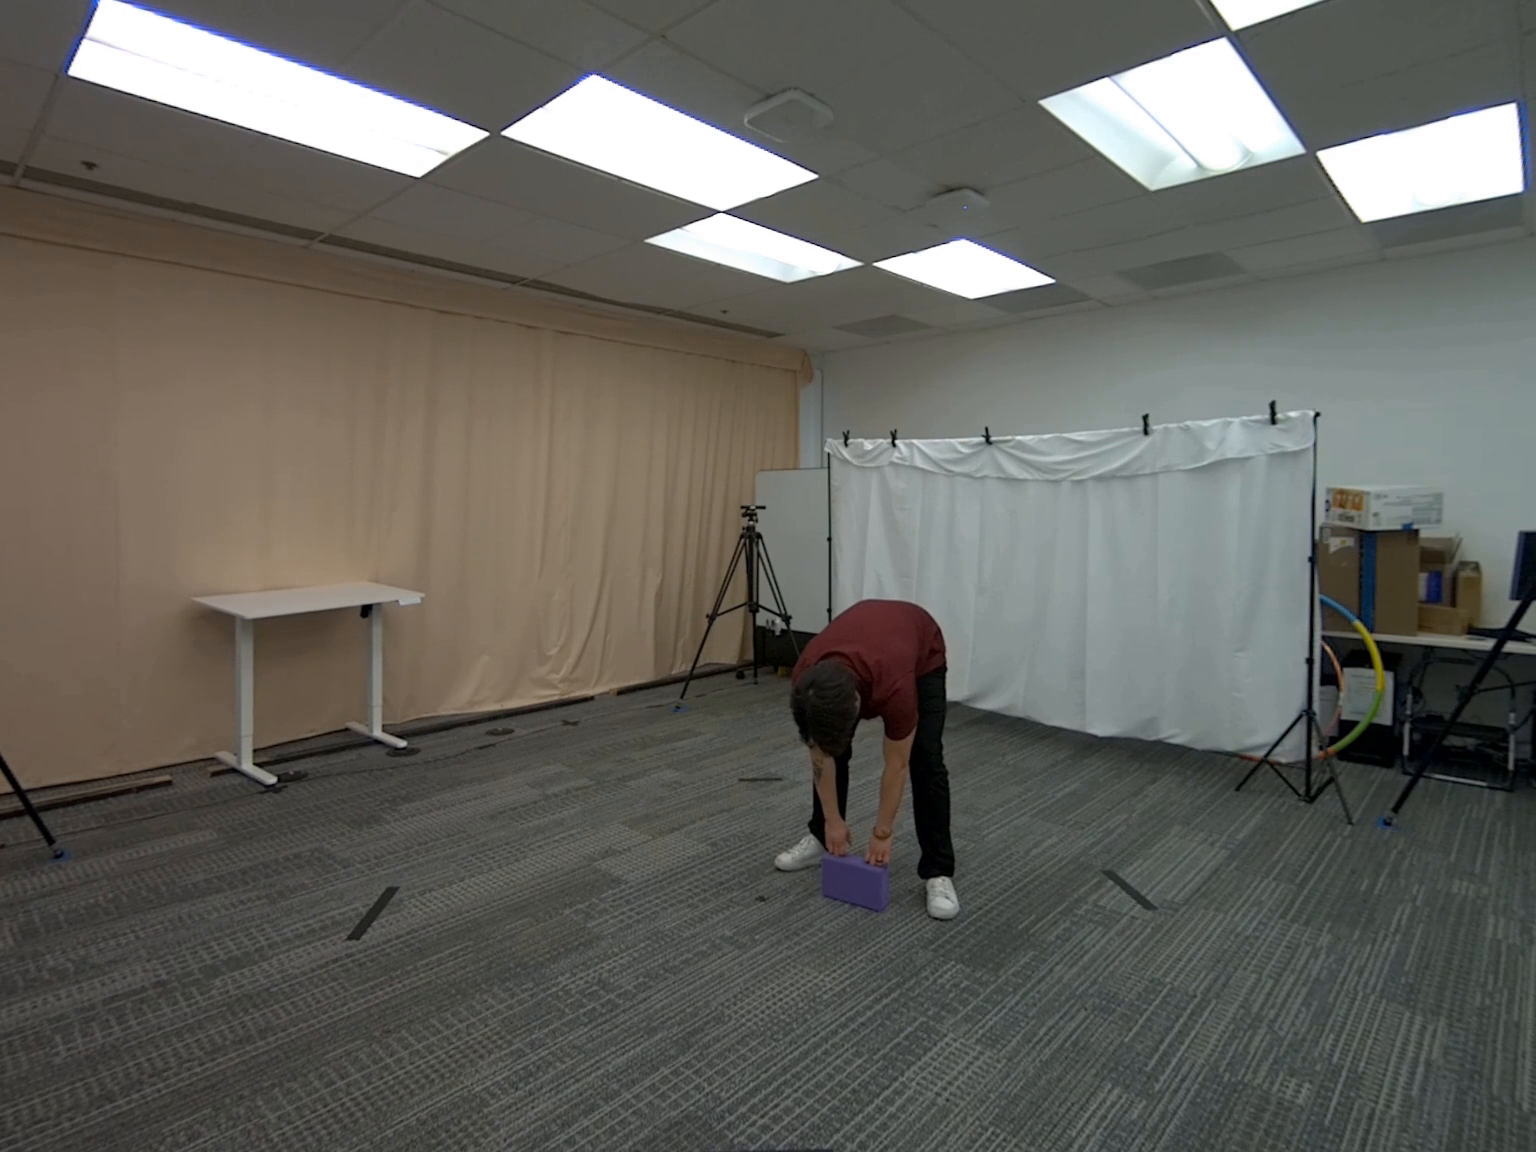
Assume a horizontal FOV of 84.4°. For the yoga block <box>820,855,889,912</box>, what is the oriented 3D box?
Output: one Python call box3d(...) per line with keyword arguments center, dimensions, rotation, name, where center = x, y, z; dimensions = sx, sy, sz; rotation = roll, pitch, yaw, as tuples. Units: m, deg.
box3d(center=(0.310, 1.068, 2.970), dimensions=(0.236, 0.149, 0.074), rotation=(3, 3, 33), name="yoga block")
